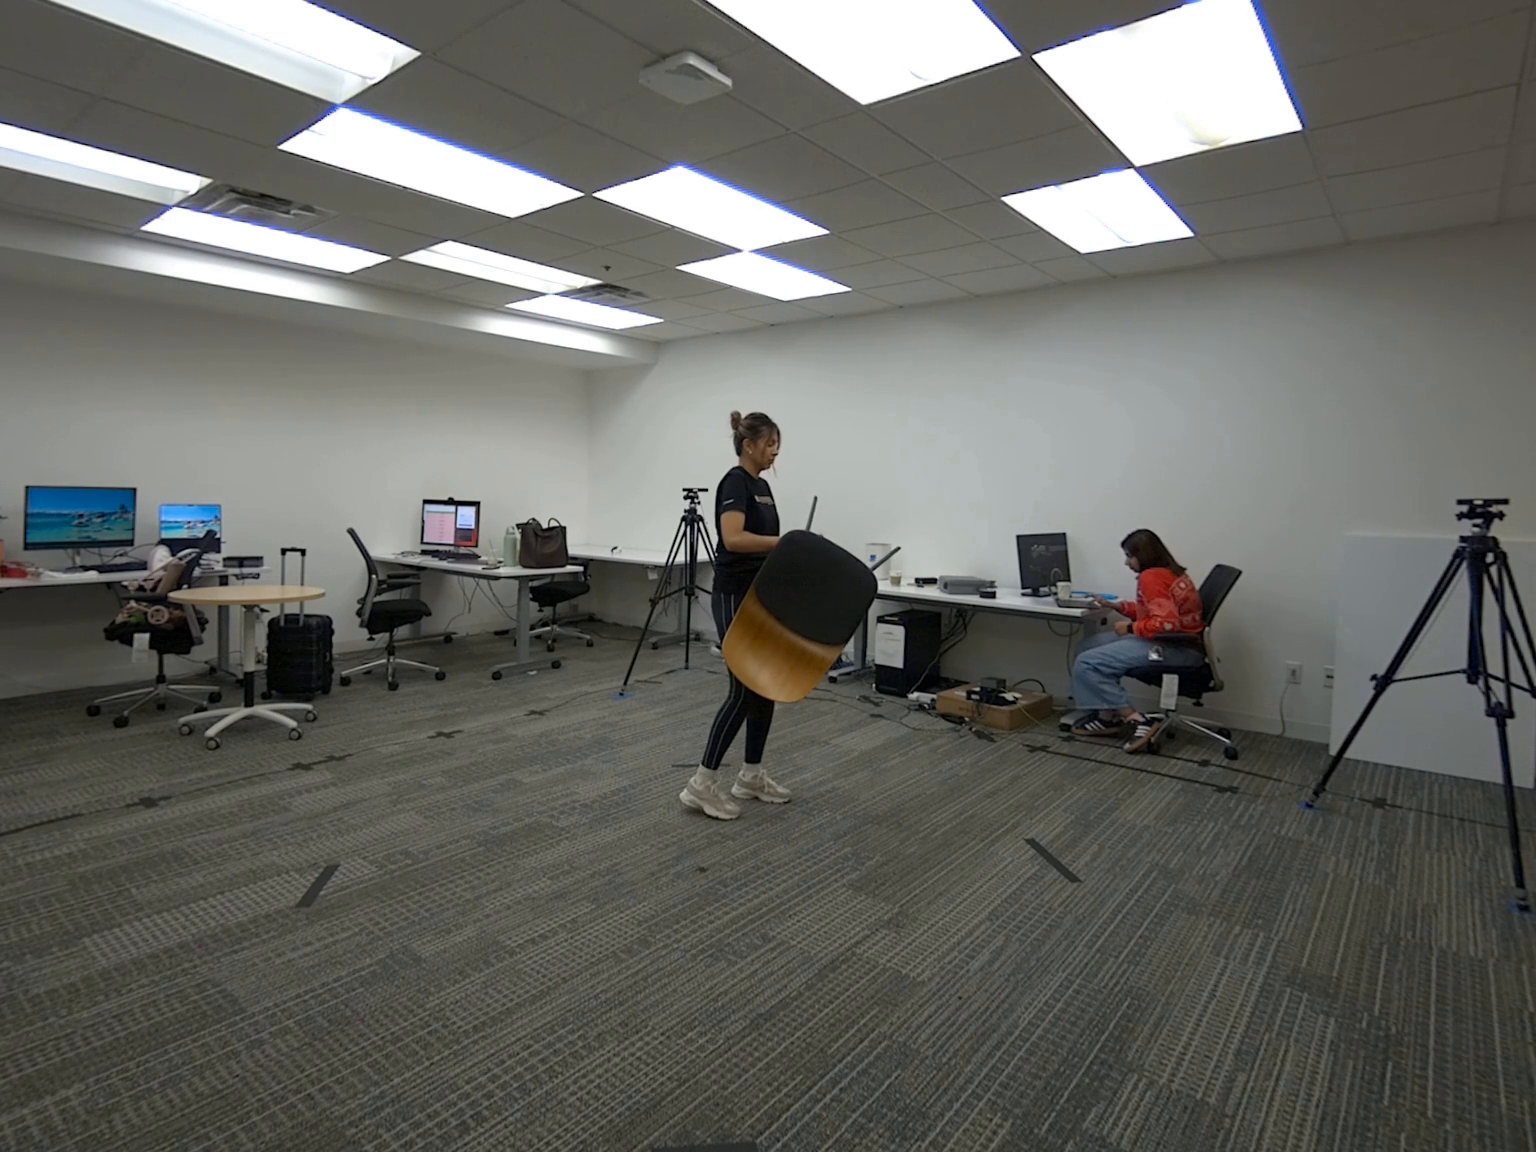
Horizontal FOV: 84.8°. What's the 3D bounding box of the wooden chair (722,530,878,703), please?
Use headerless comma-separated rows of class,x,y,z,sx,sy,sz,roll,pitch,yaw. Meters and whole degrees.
wooden chair,0.173,0.073,3.594,0.483,0.518,0.877,32,32,5
